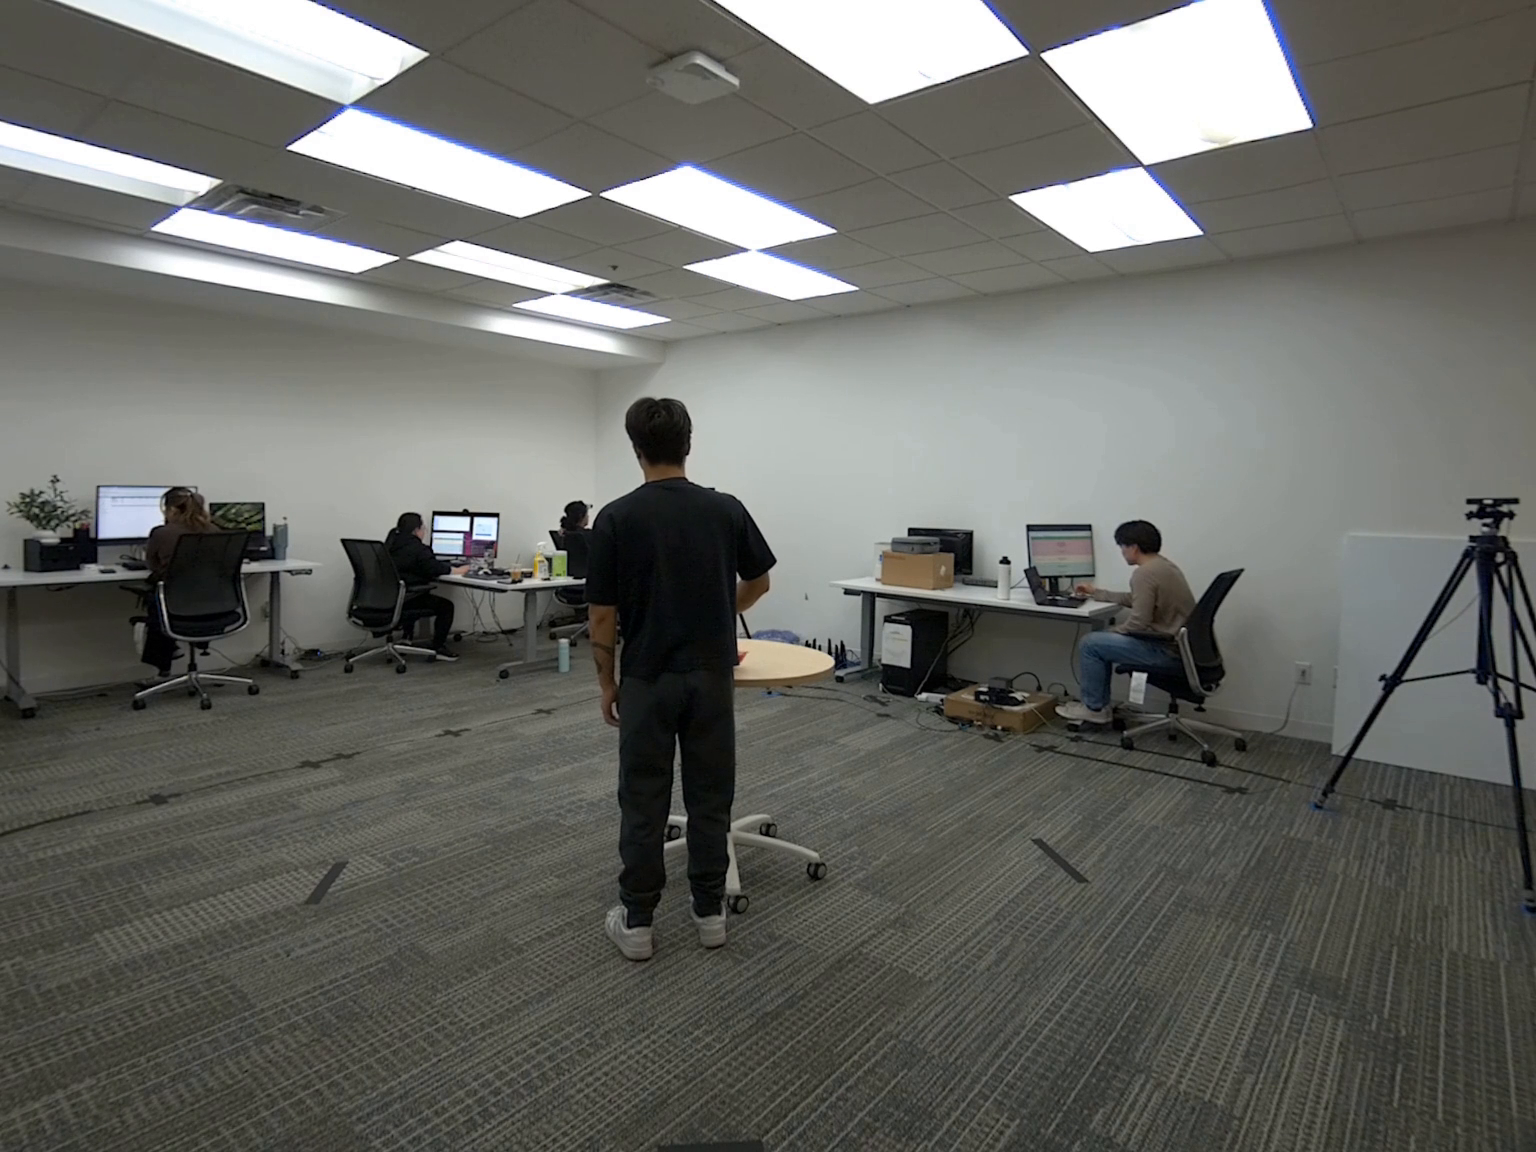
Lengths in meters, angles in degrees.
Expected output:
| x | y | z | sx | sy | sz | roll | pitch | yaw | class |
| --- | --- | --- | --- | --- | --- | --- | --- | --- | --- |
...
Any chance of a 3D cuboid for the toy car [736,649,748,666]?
| x | y | z | sx | sy | sz | roll | pitch | yaw | class |
| --- | --- | --- | --- | --- | --- | --- | --- | --- | --- |
| -0.199 | 0.272 | 2.876 | 0.257 | 0.083 | 0.129 | -8 | 1 | 12 | toy car |
